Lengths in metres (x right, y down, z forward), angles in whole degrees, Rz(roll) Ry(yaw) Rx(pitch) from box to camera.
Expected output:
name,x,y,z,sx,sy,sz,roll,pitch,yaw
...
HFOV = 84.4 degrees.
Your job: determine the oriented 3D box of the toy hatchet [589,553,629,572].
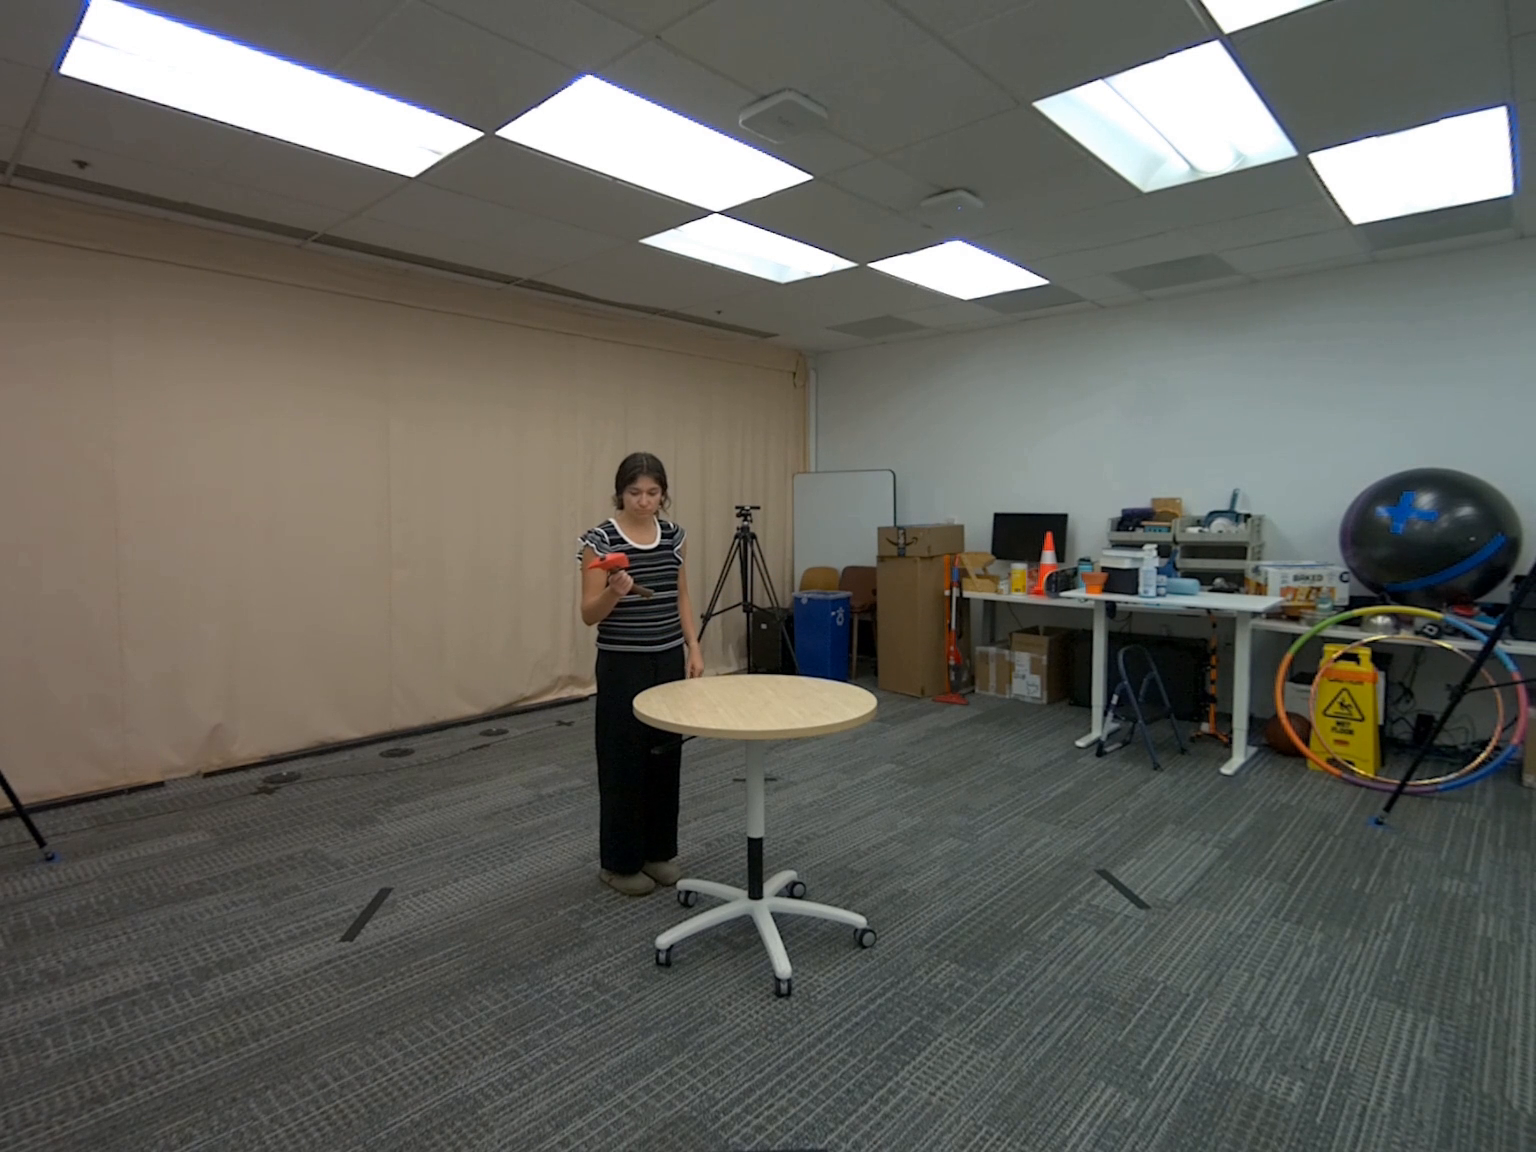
name,x,y,z,sx,sy,sz,roll,pitch,yaw
toy hatchet,-0.440,-0.008,2.723,0.133,0.030,0.260,-32,-42,29
